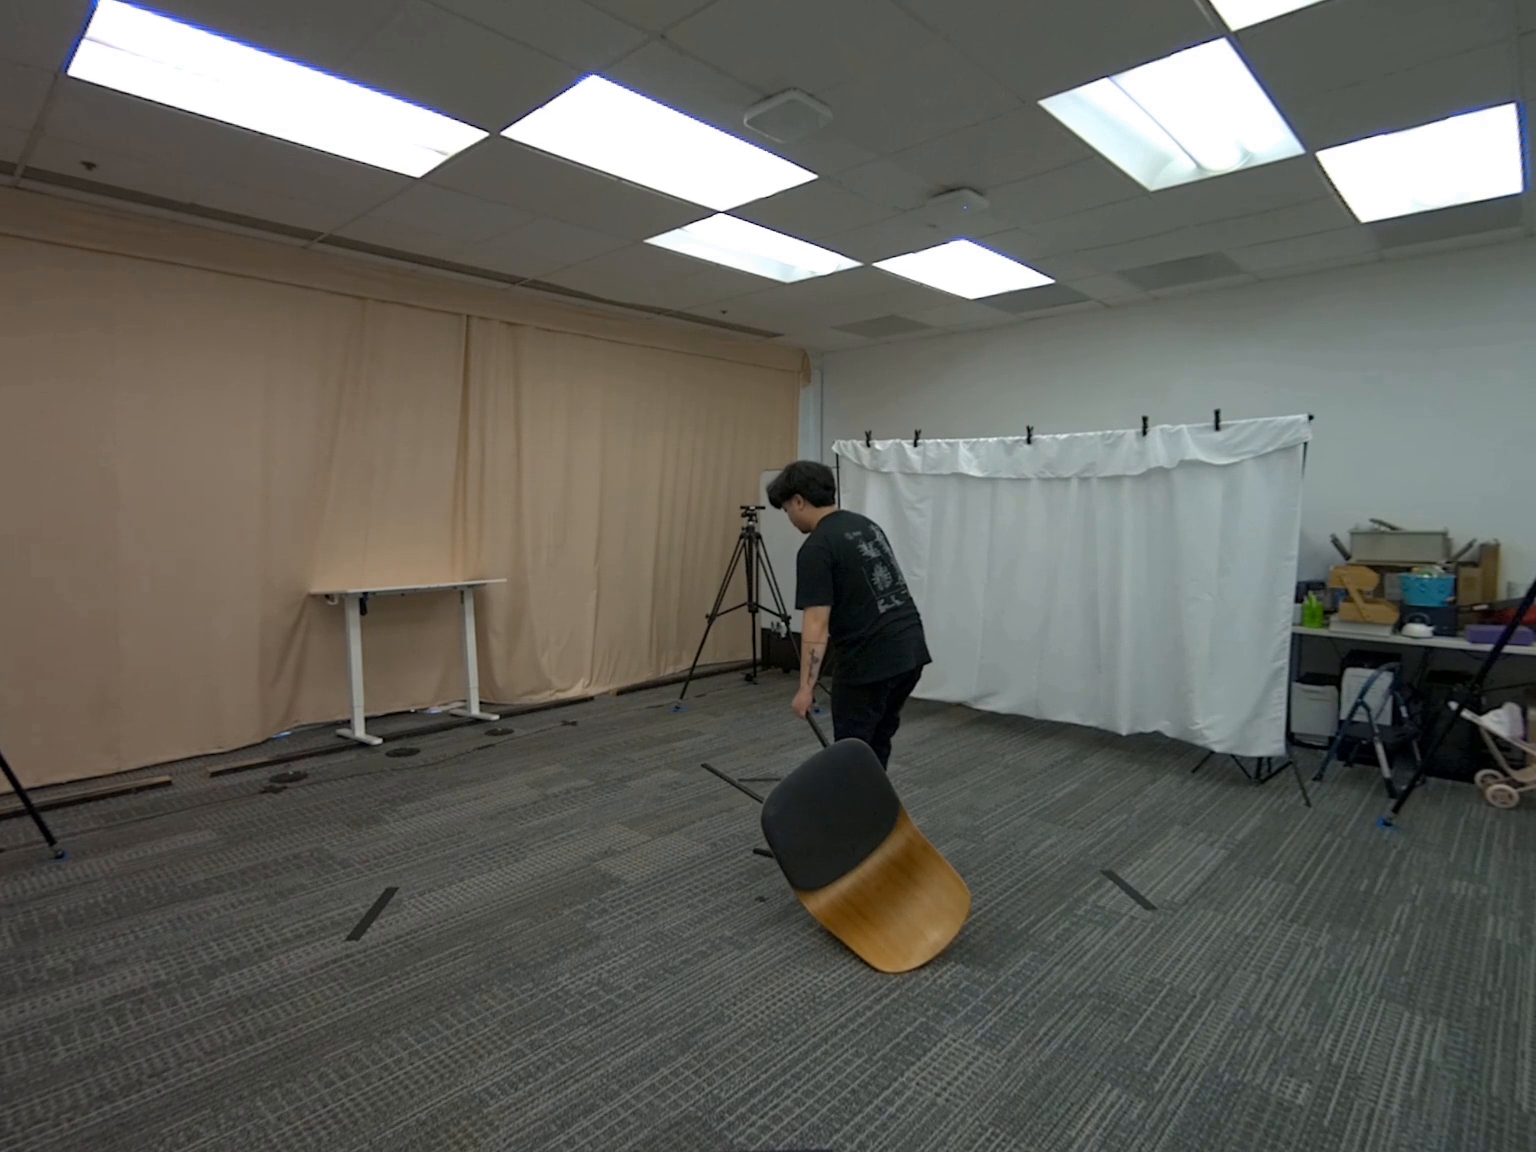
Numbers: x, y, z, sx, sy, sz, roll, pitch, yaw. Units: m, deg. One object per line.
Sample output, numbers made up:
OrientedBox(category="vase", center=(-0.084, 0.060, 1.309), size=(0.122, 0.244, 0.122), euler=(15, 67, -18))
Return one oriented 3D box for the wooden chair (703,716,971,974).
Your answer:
OrientedBox(category="wooden chair", center=(0.226, 0.830, 2.831), size=(0.474, 0.512, 0.905), euler=(-32, 25, -16))
